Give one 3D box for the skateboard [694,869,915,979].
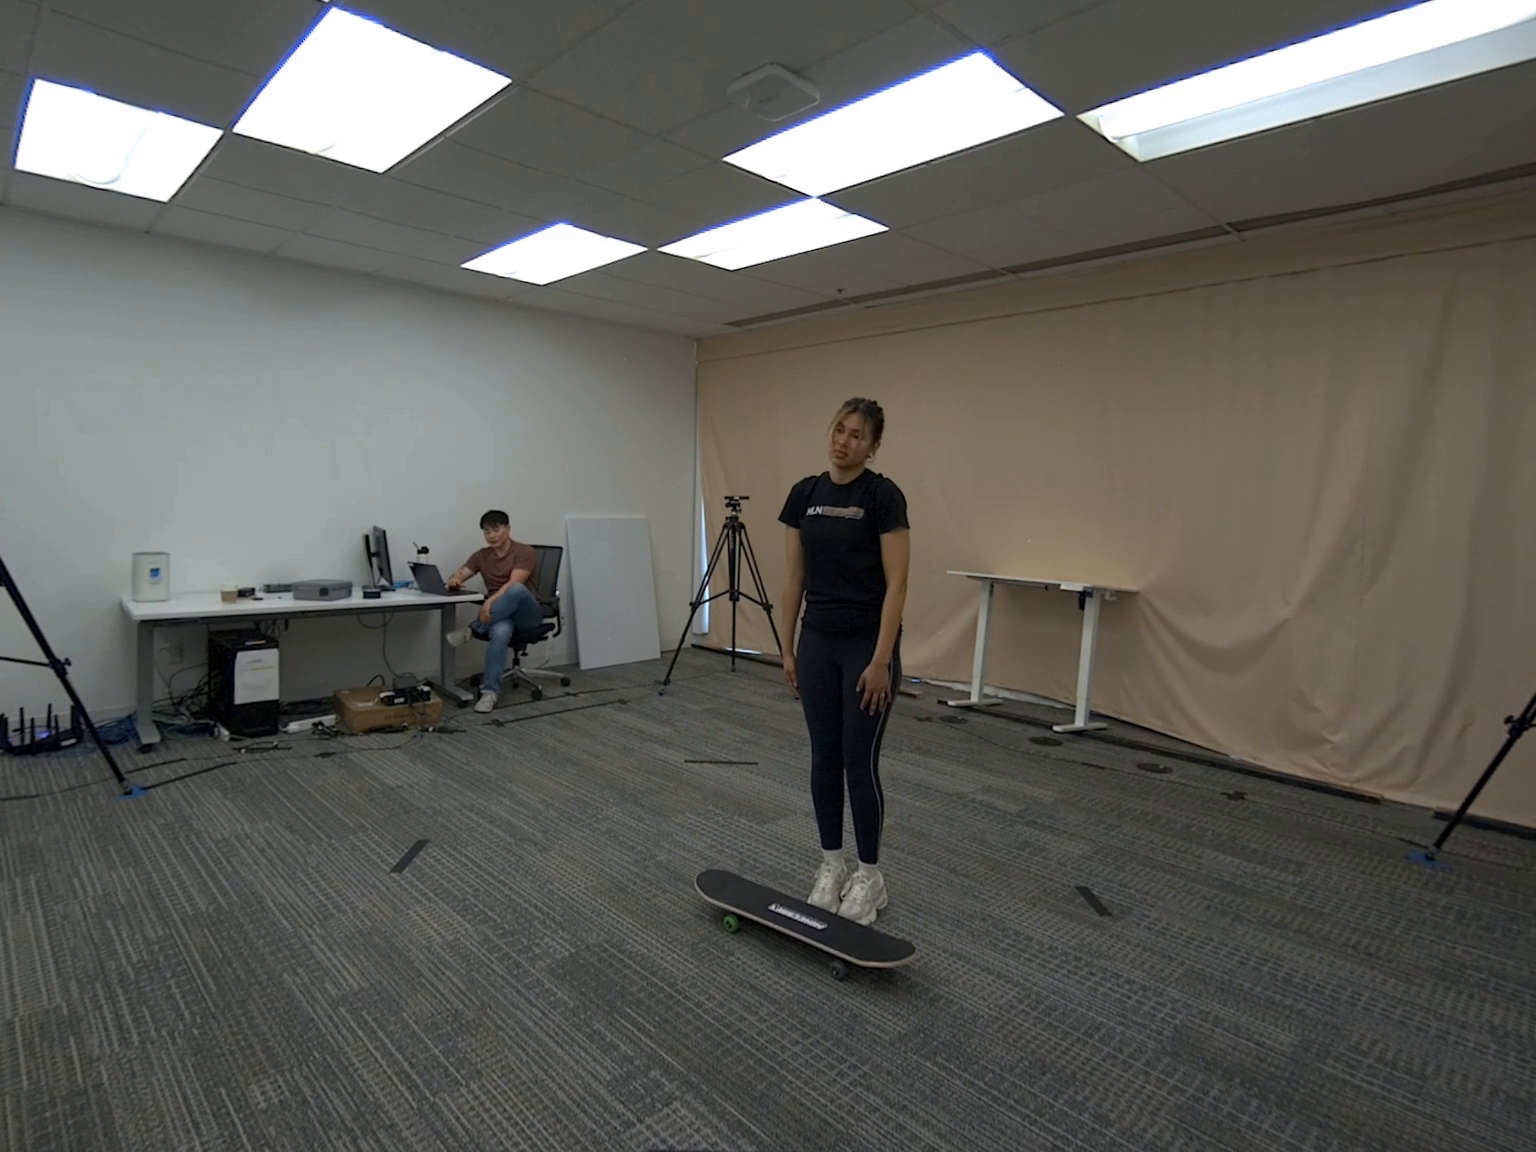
[{"bbox_3d":[0.082,1.095,2.632,0.805,0.110,0.189,6,6,37],"label":"skateboard"}]
